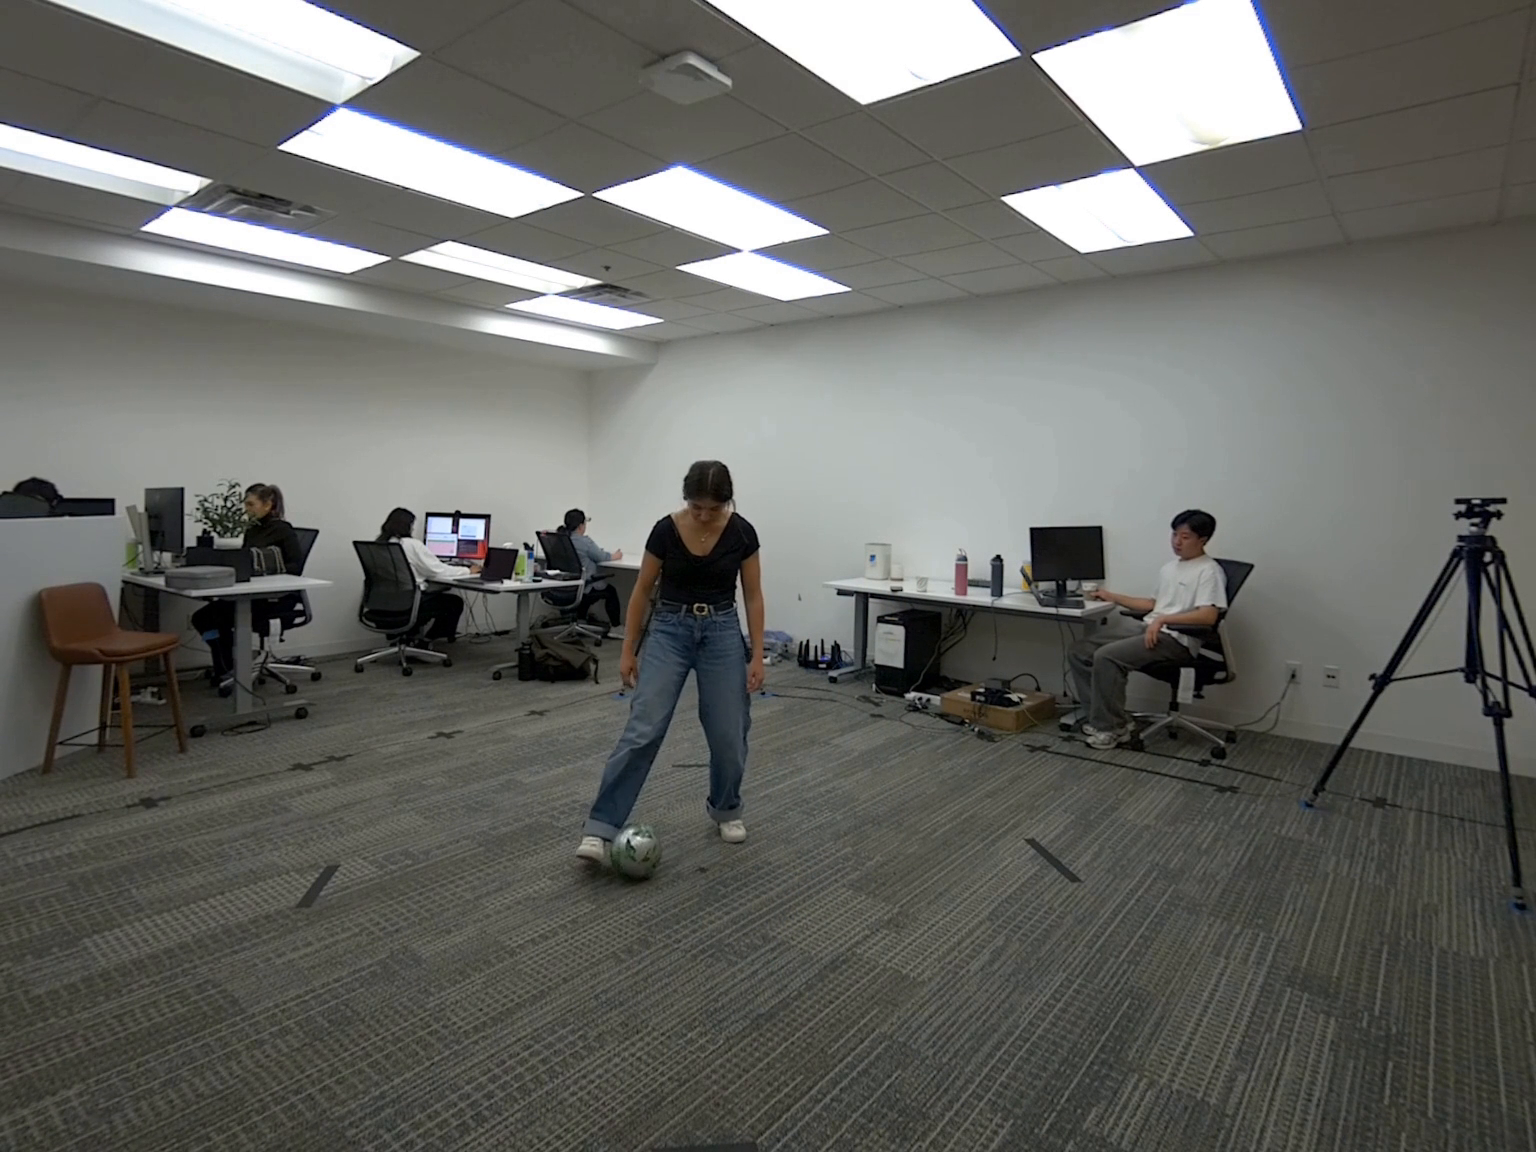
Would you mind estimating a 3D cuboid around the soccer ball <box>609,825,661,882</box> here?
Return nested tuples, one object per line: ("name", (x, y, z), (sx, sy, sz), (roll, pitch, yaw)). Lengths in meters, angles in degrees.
("soccer ball", (-0.449, 0.977, 3.045), (0.187, 0.187, 0.188), (1, 4, -2))
